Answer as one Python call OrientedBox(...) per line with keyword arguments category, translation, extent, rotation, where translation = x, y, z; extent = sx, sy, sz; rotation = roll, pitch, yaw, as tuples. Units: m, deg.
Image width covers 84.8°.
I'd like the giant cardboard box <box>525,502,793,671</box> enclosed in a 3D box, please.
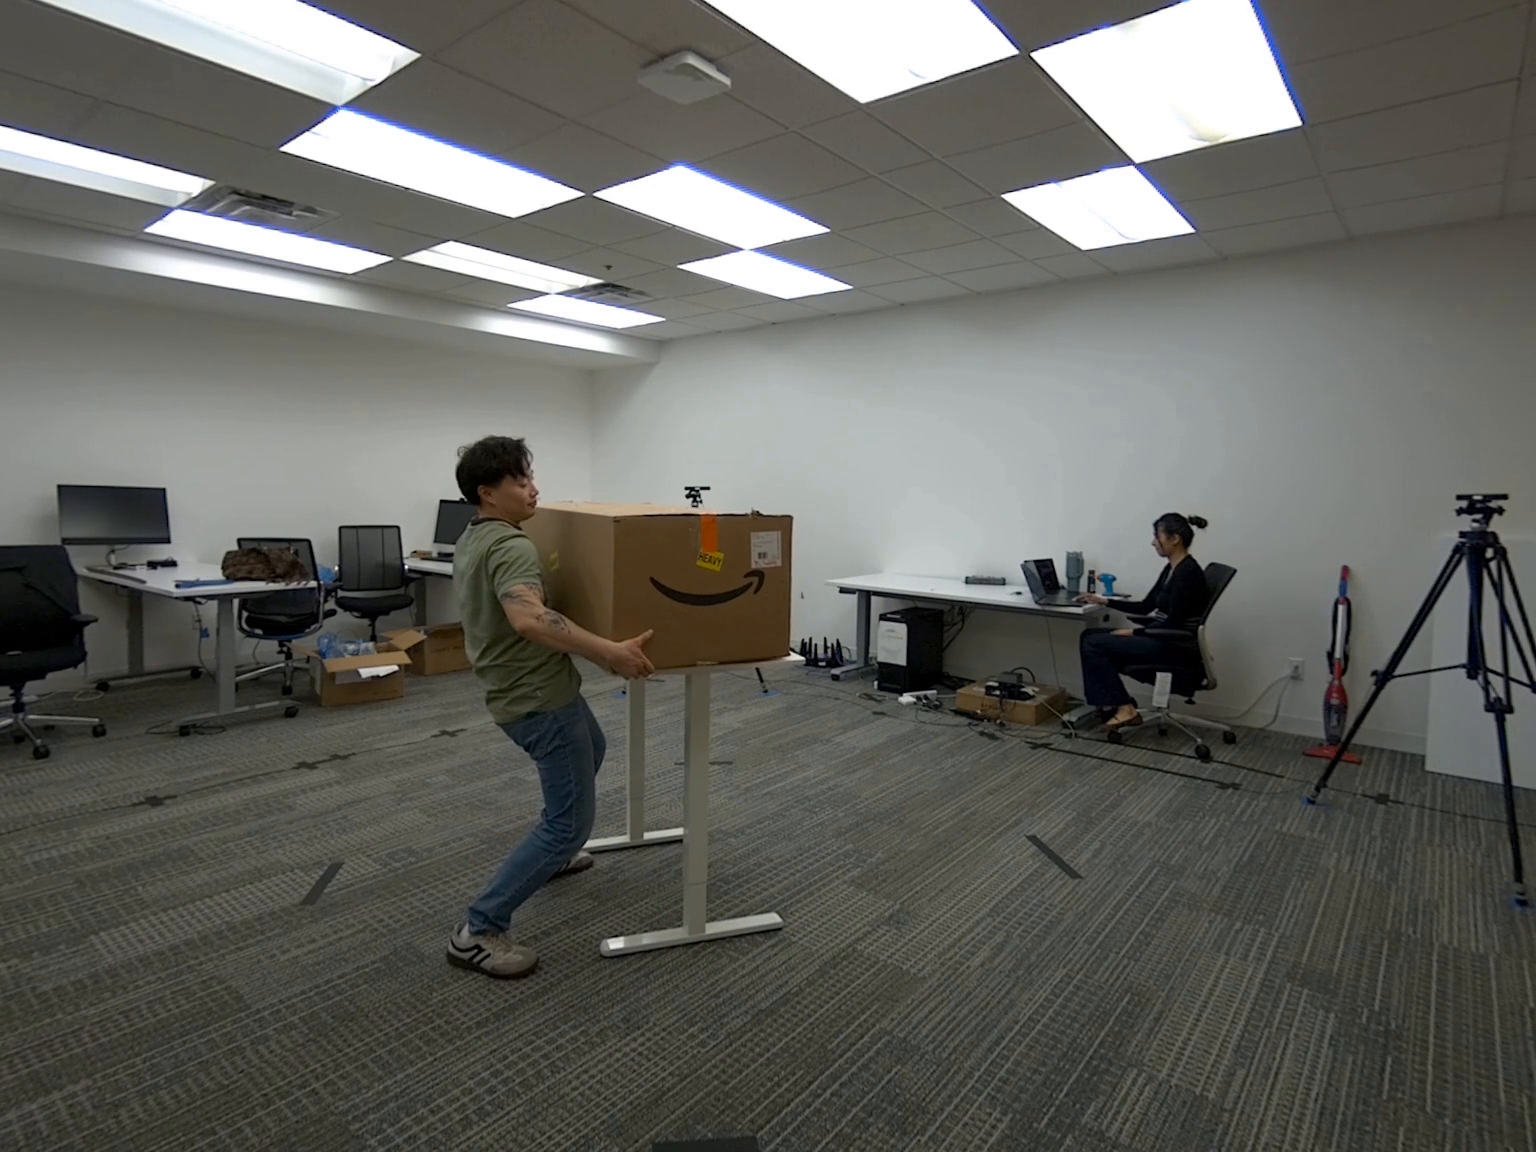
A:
OrientedBox(category="giant cardboard box", translation=(-0.446, -0.023, 2.825), extent=(0.562, 0.424, 1.059), rotation=(-3, 7, -31))
